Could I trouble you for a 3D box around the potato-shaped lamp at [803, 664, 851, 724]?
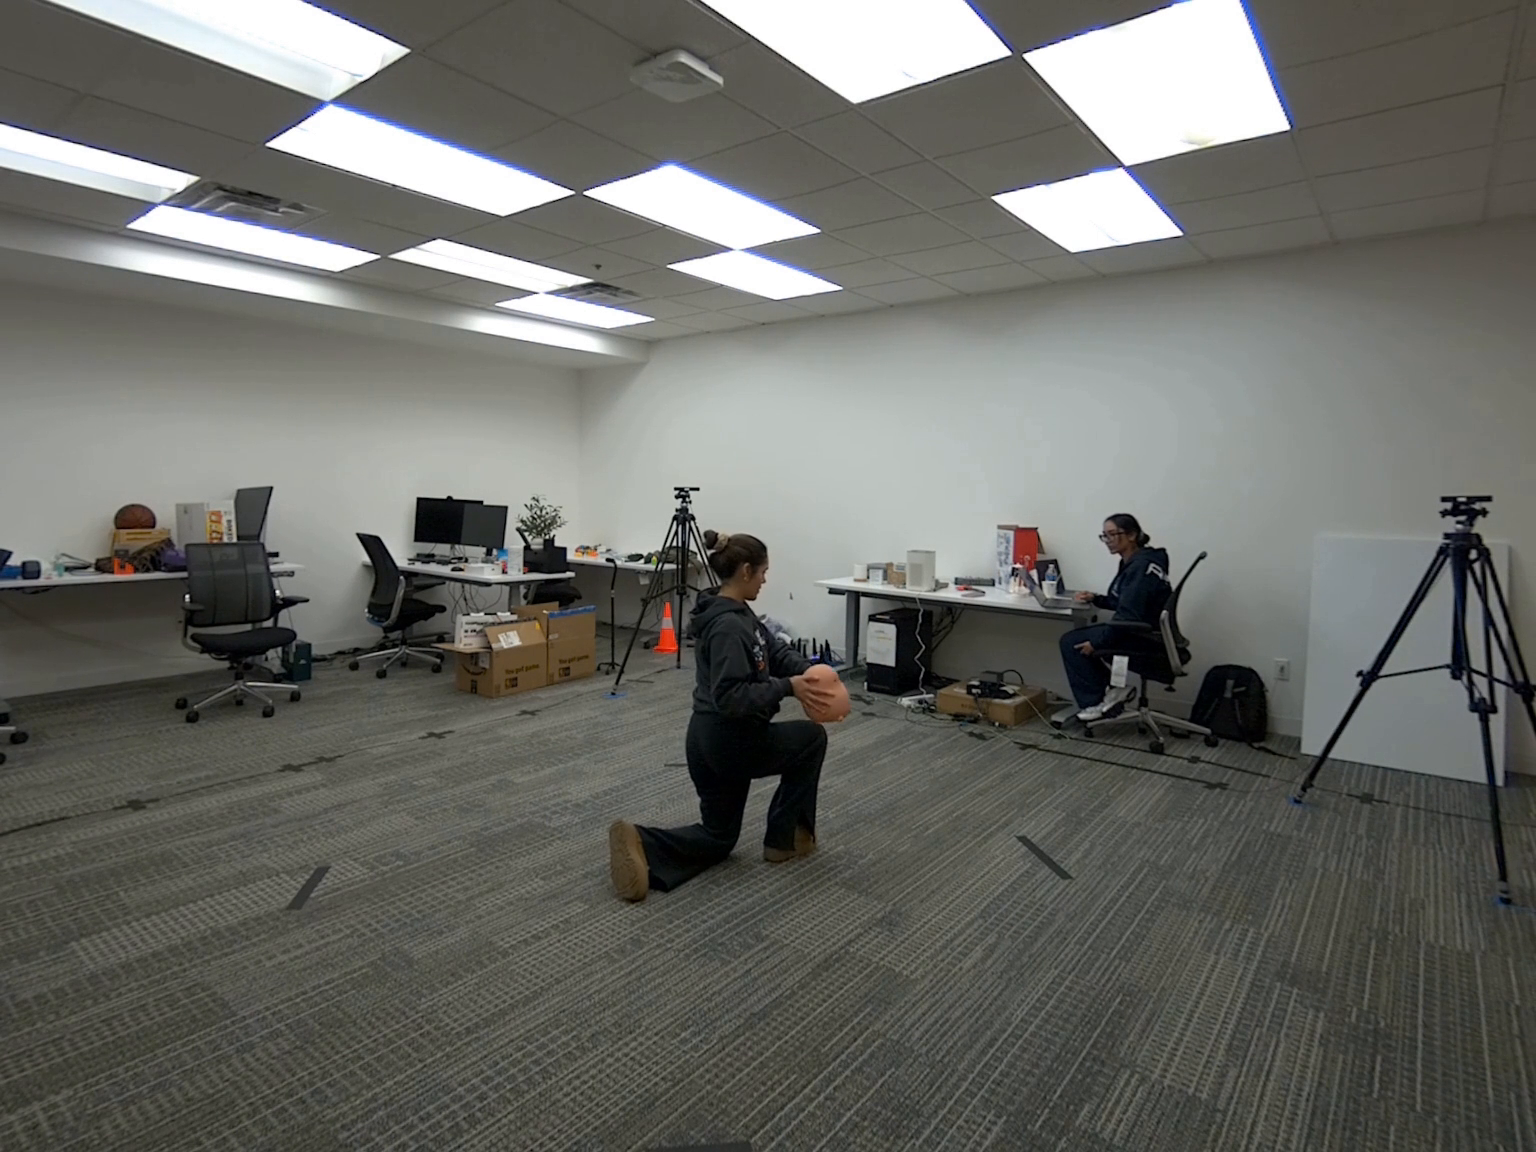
[{"bbox_3d":[0.181,0.413,3.023,0.175,0.197,0.162,-6,5,27],"label":"potato-shaped lamp"}]
